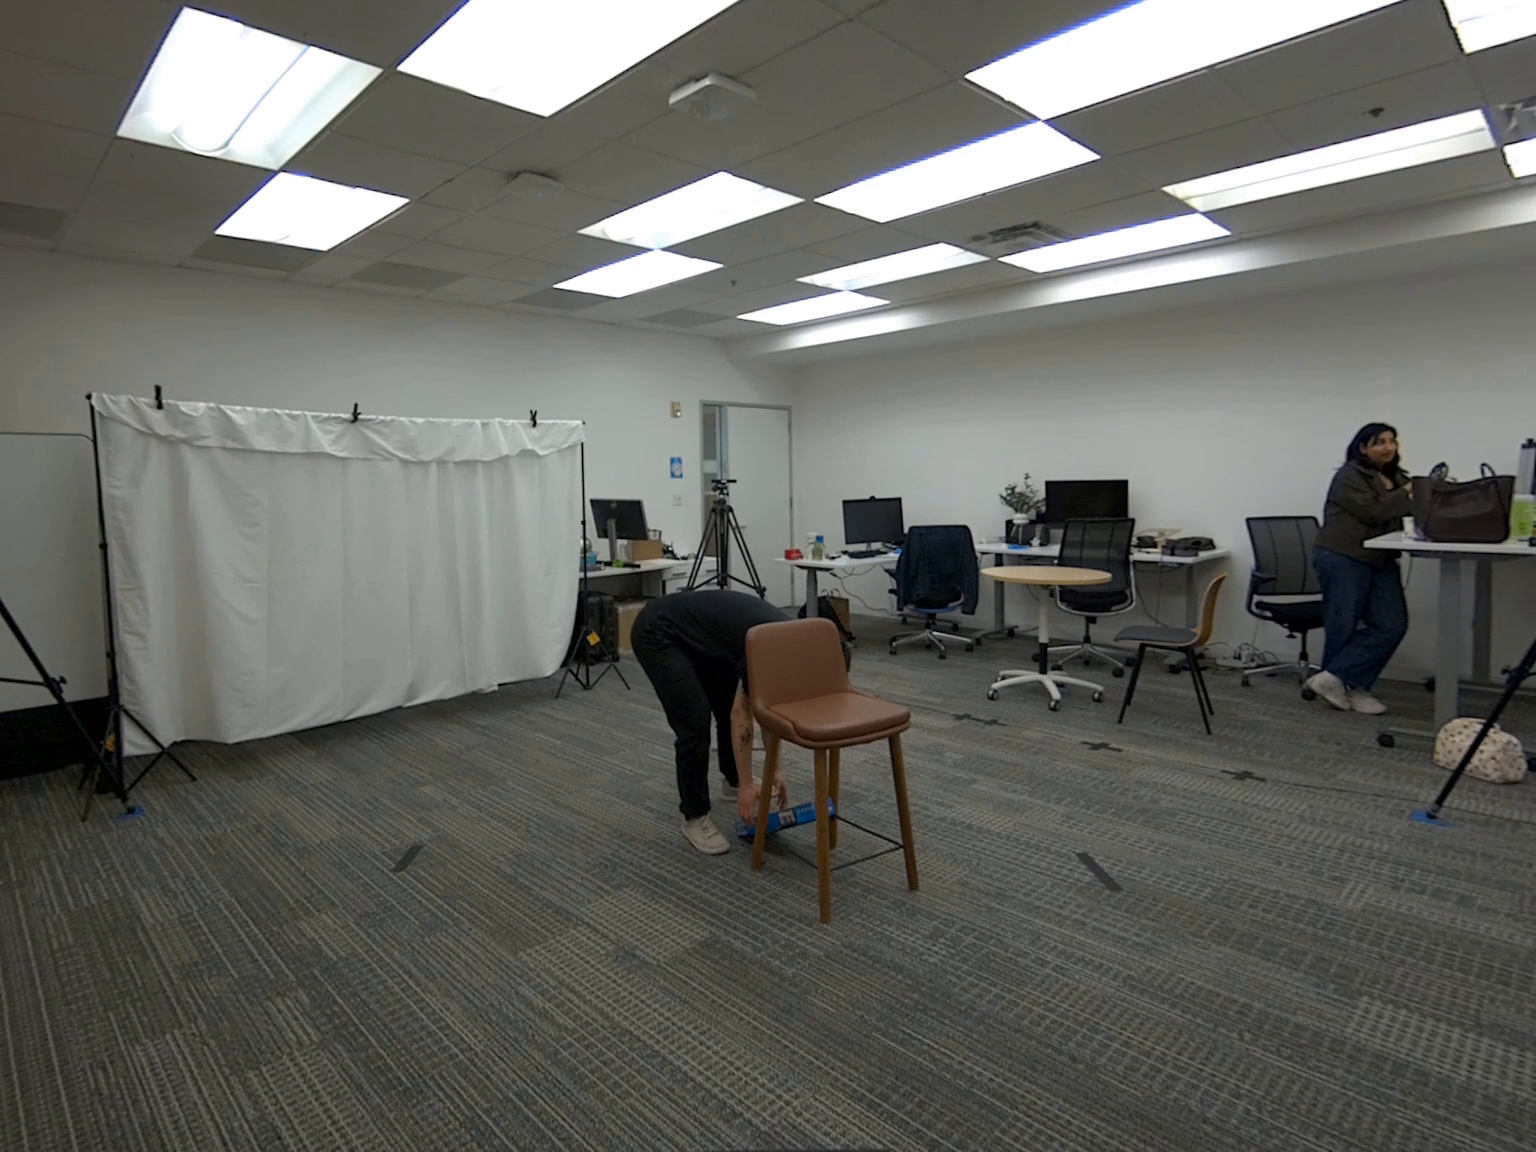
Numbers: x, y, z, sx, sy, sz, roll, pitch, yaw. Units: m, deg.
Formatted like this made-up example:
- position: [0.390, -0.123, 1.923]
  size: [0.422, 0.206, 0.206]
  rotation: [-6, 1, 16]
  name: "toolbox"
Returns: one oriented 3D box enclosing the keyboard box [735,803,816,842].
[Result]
- position: [0.051, 0.916, 3.221]
  size: [0.171, 0.060, 0.440]
  rotation: [-4, -18, -34]
  name: "keyboard box"
